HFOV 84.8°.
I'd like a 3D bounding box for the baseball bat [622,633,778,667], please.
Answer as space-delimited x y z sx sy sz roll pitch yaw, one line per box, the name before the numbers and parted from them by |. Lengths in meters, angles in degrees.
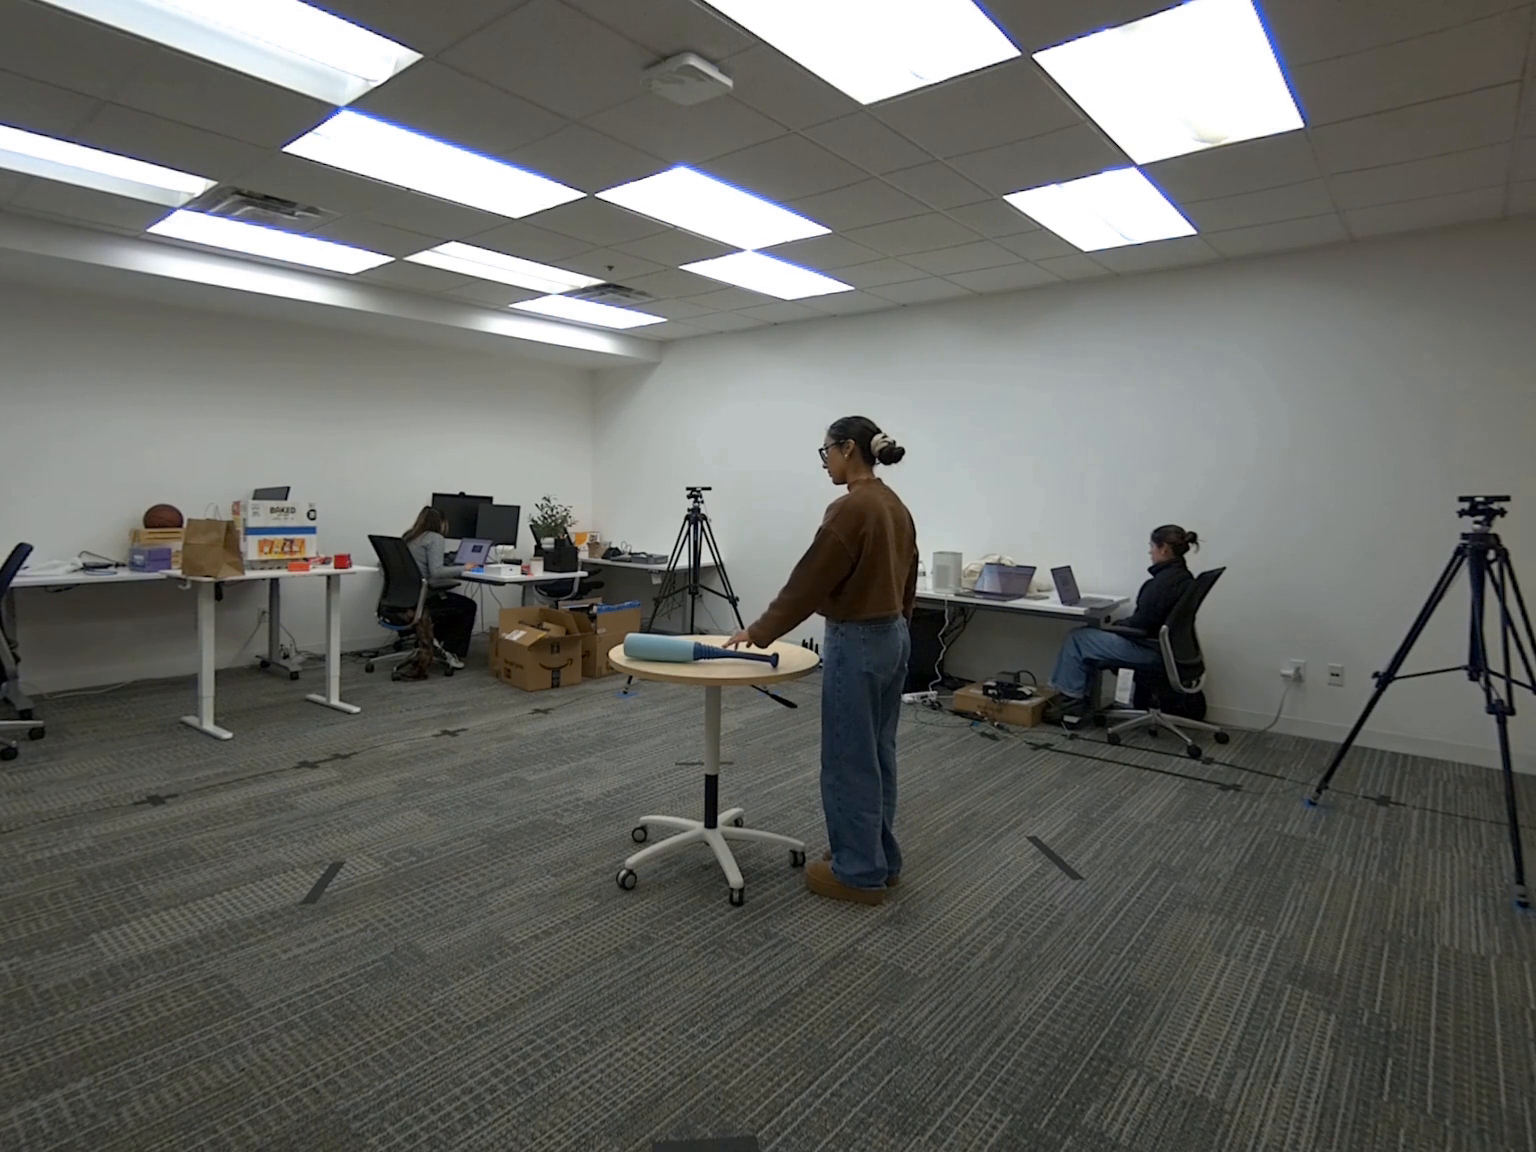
baseball bat | -0.241 0.263 2.947 0.547 0.089 0.088 4 4 7
